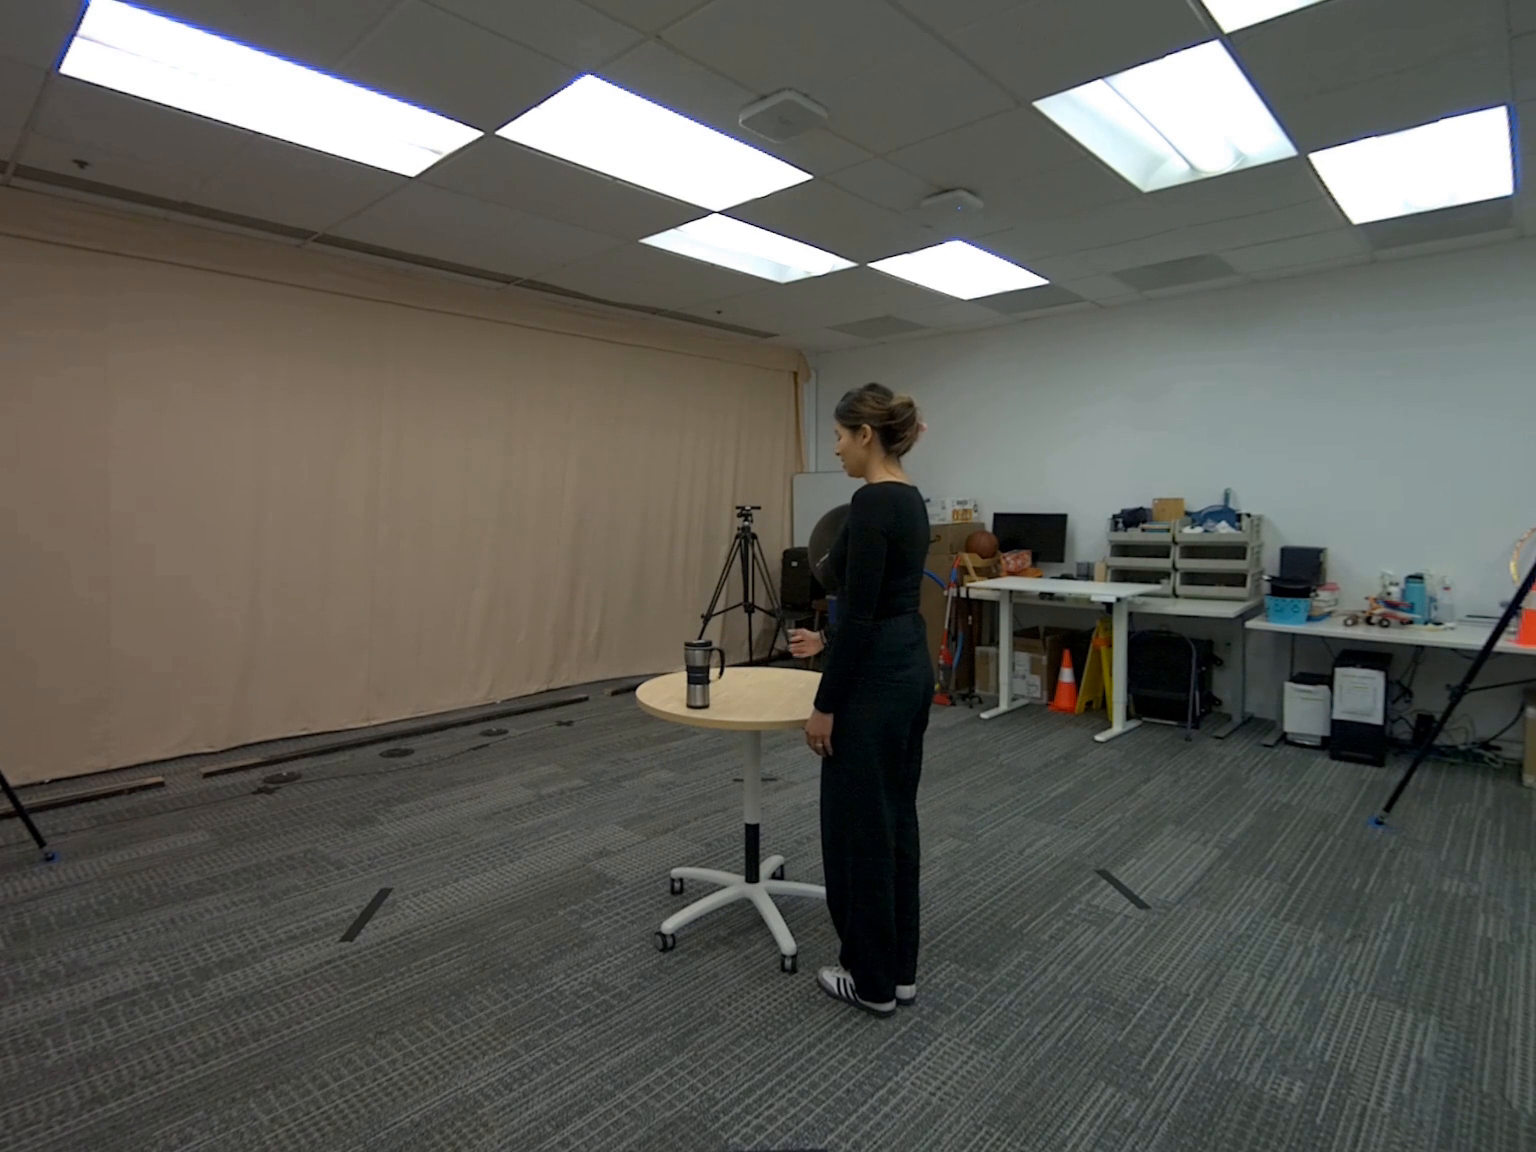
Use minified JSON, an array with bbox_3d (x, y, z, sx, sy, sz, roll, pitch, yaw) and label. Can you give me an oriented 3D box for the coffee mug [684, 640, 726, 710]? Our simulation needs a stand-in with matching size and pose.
[{"bbox_3d":[-0.196,0.302,2.532,0.126,0.203,0.085,-2,-1,39],"label":"coffee mug"}]
